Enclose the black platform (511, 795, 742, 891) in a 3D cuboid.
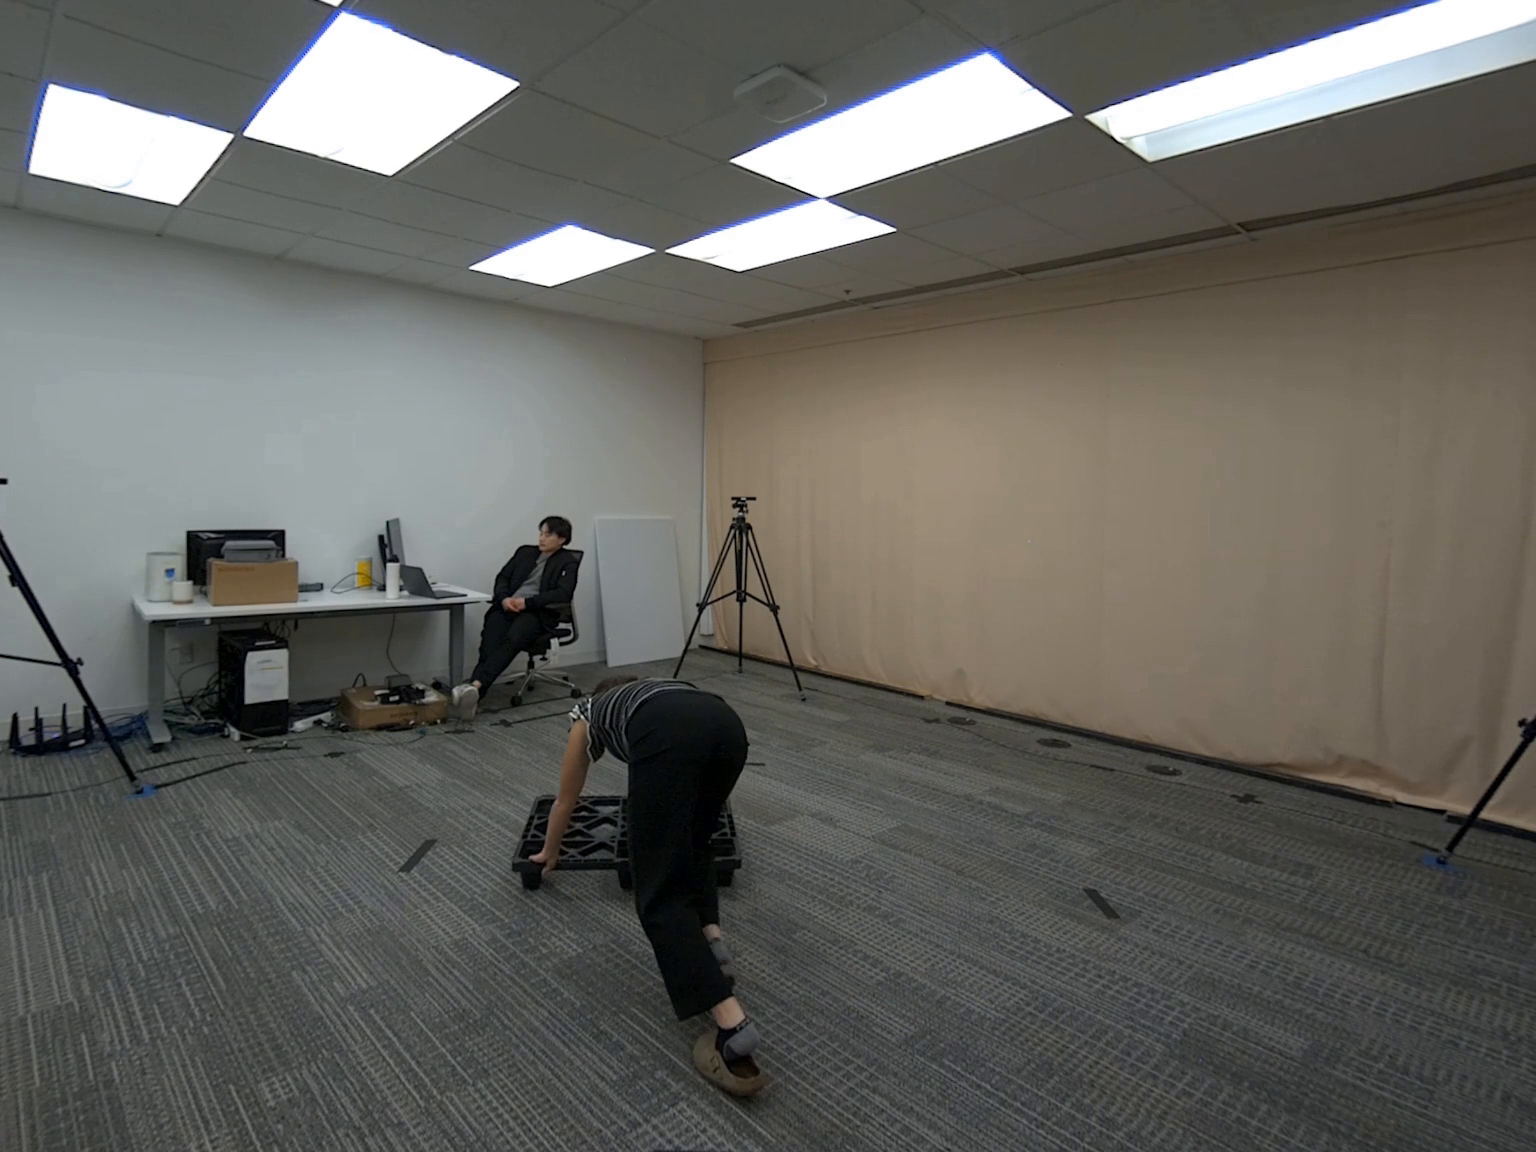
[{"bbox_3d":[-0.532,1.017,3.211,0.802,0.143,0.610,1,6,-6],"label":"black platform"}]
